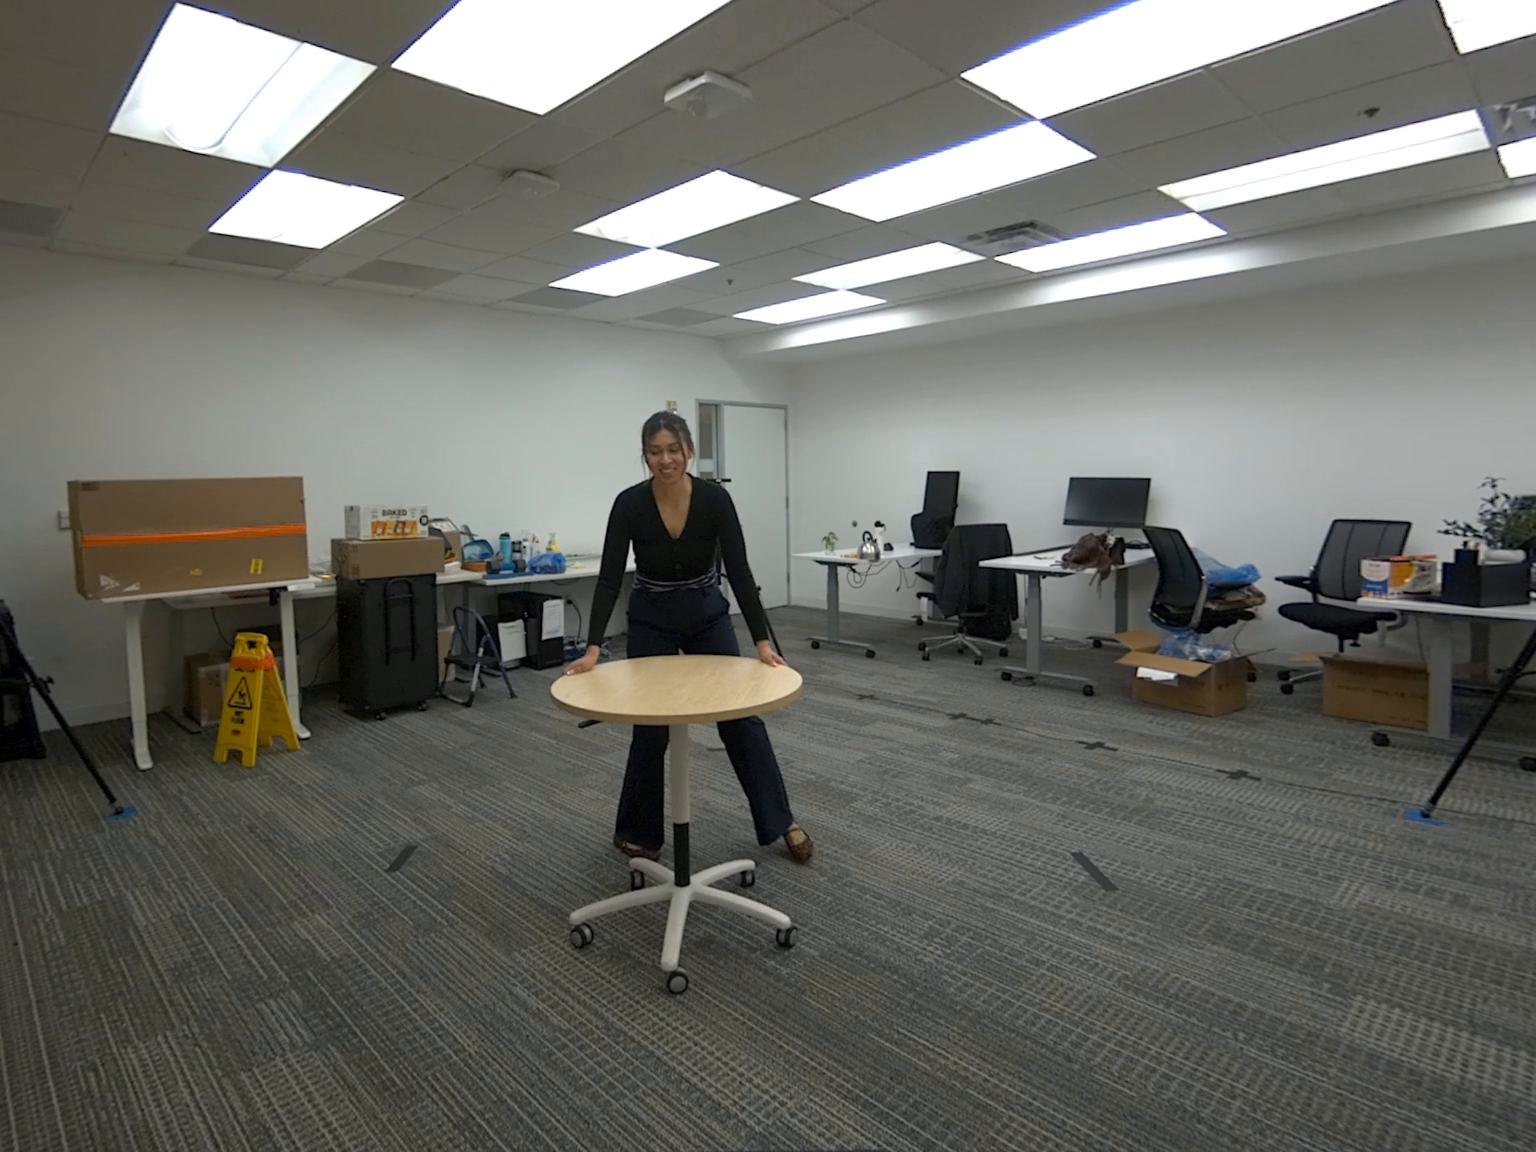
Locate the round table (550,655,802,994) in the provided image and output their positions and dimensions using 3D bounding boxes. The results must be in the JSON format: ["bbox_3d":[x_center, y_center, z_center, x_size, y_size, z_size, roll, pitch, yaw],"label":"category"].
[{"bbox_3d":[-0.261,0.714,2.653,0.763,0.791,0.768,-1,5,-2],"label":"round table"}]
